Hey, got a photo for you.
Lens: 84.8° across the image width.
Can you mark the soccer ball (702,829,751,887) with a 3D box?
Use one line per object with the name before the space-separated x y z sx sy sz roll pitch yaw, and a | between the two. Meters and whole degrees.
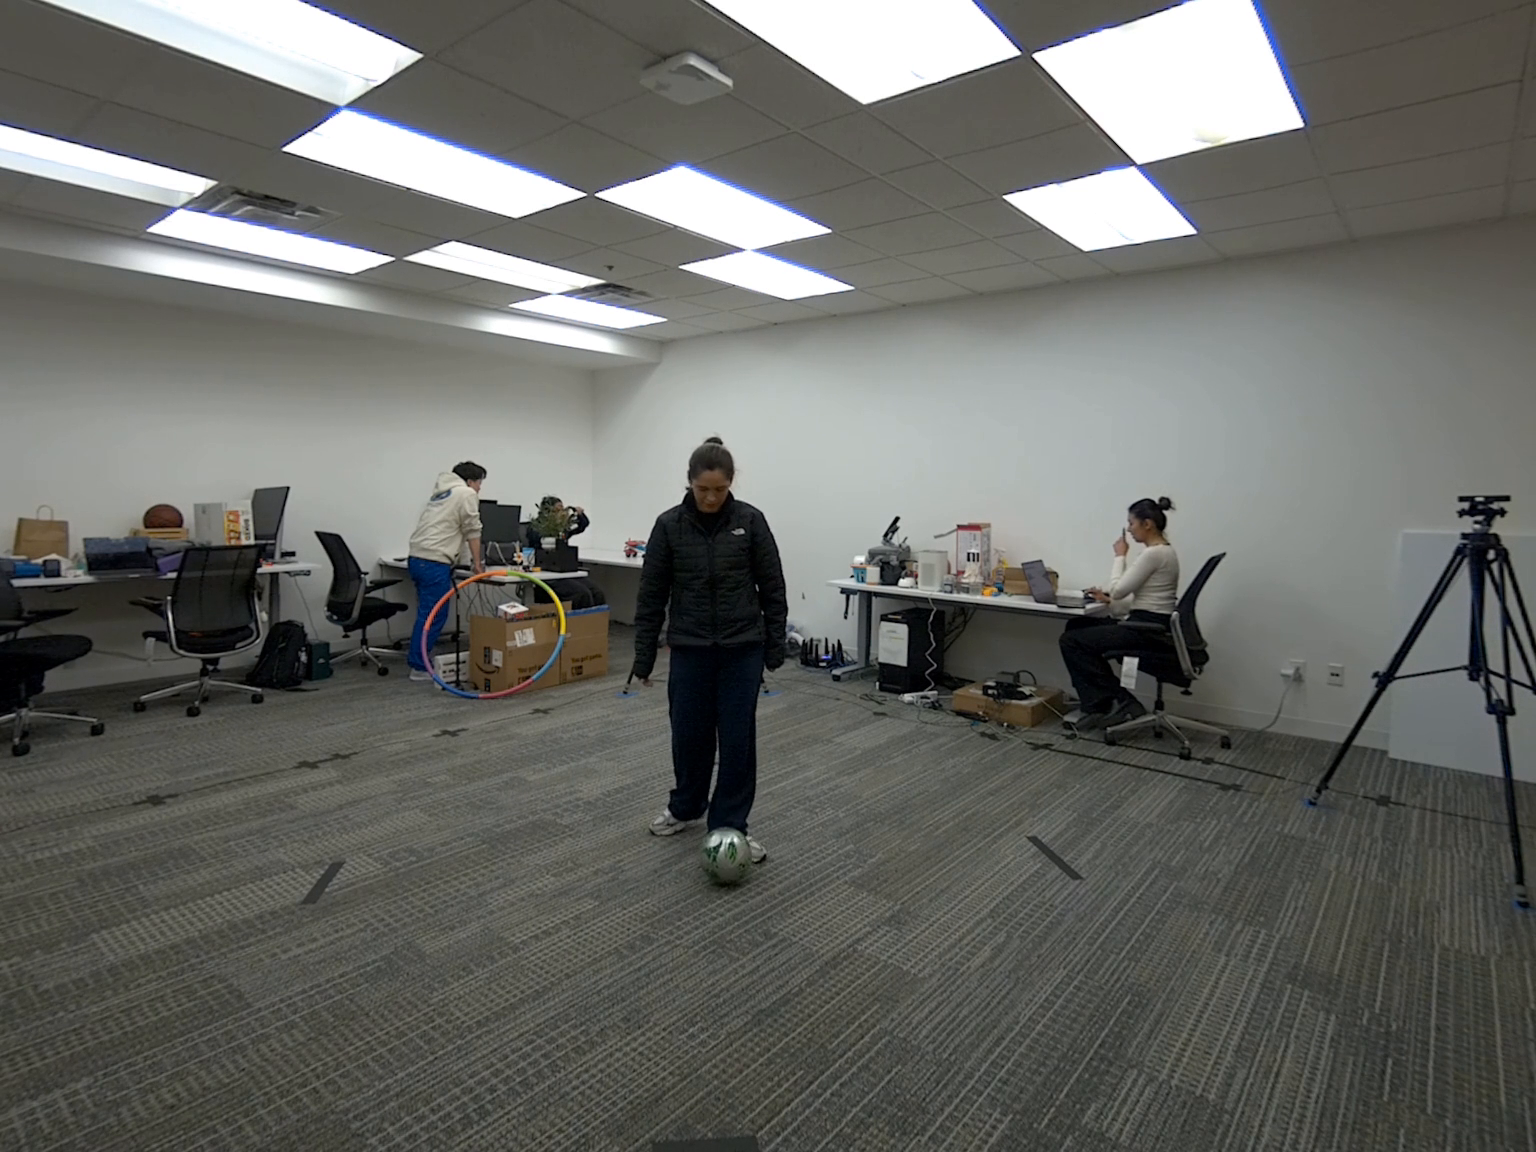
soccer ball | -0.163 0.979 3.004 0.187 0.187 0.188 1 4 -2
